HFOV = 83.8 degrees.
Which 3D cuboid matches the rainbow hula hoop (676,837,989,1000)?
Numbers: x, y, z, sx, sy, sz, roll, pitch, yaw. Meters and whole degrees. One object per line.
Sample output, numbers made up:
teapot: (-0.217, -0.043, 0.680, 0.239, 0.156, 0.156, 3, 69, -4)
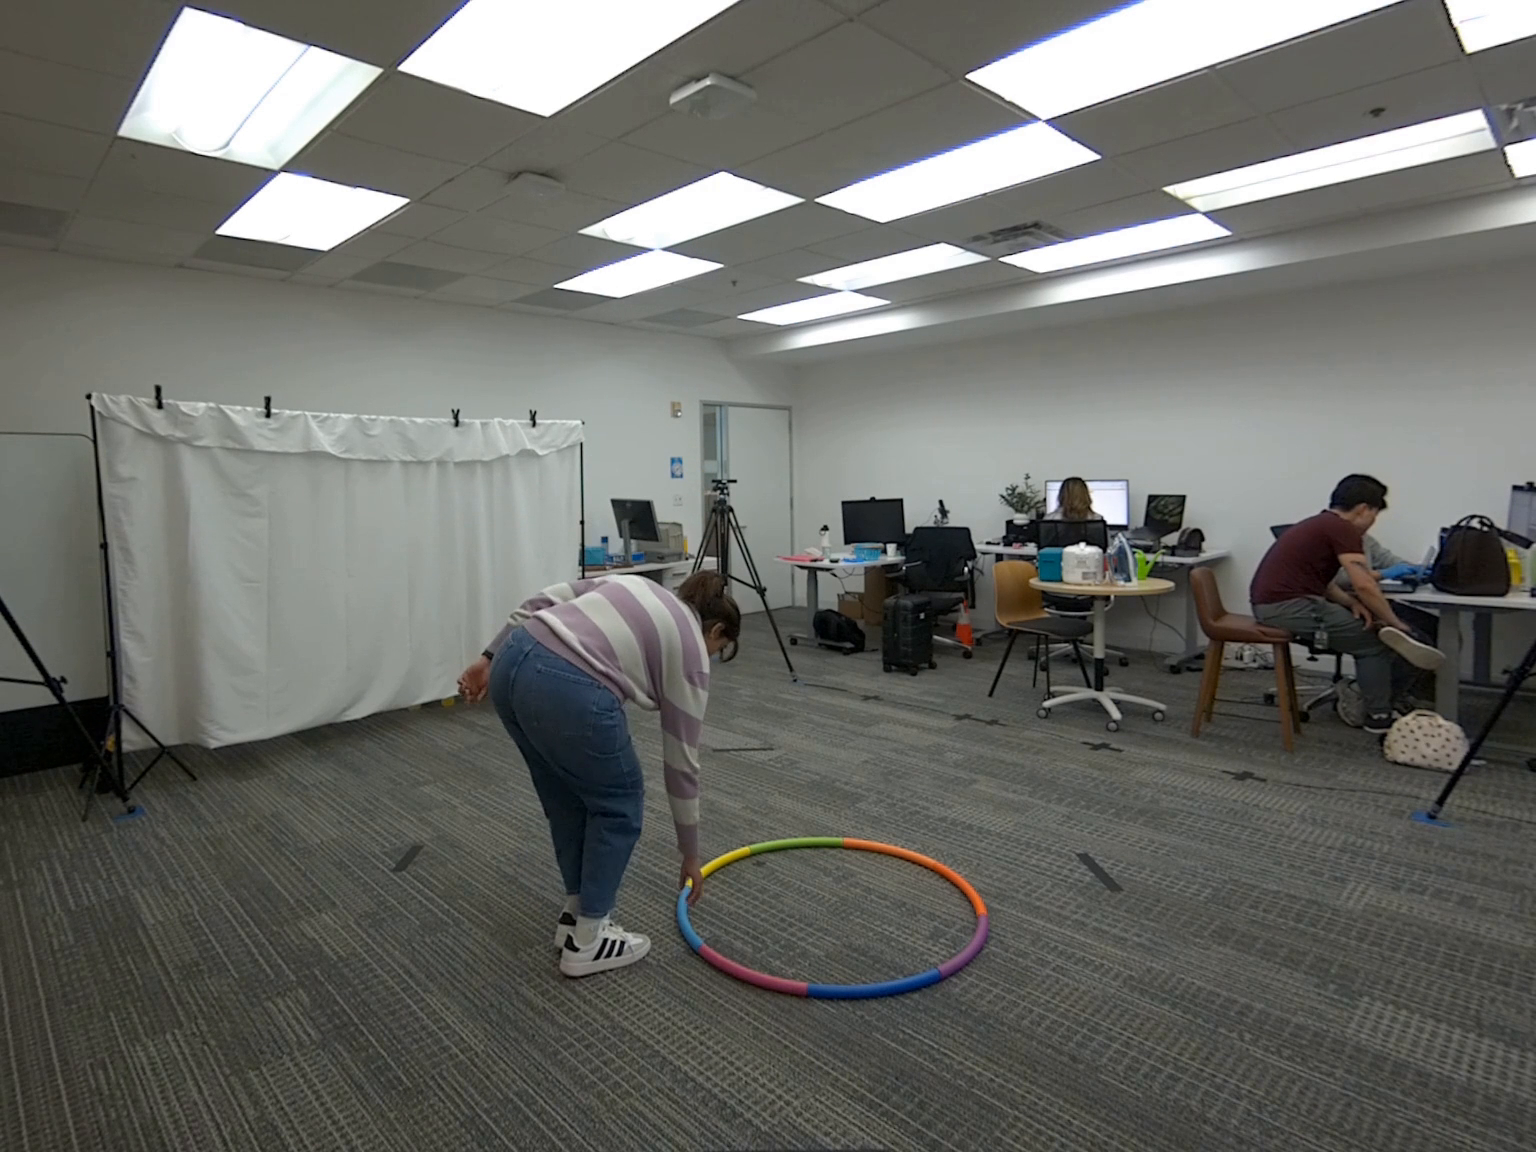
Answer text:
rainbow hula hoop: (0.199, 1.055, 2.773, 0.985, 0.051, 0.991, -1, 6, -2)
